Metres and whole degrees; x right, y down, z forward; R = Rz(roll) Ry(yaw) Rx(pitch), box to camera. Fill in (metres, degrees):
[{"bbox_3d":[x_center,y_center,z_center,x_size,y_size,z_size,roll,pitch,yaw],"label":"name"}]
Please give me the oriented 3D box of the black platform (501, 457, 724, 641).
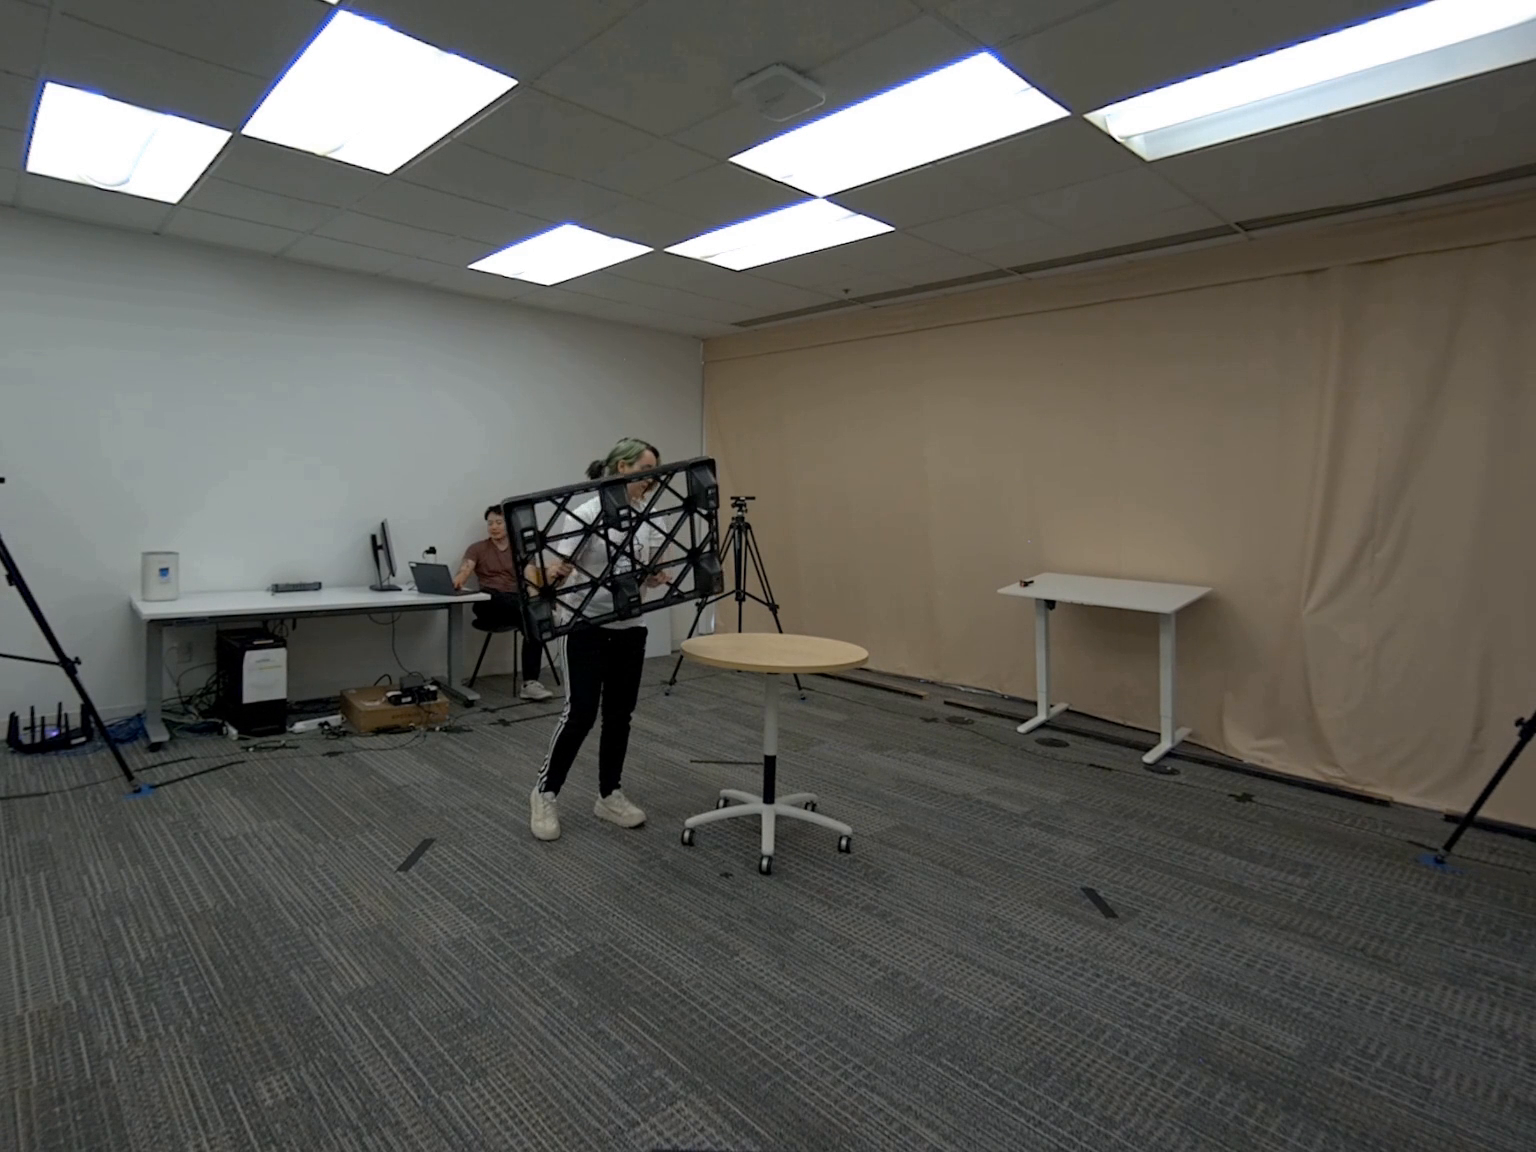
[{"bbox_3d":[-0.544,-0.070,3.127,0.796,0.593,0.148,-15,31,-21],"label":"black platform"}]
